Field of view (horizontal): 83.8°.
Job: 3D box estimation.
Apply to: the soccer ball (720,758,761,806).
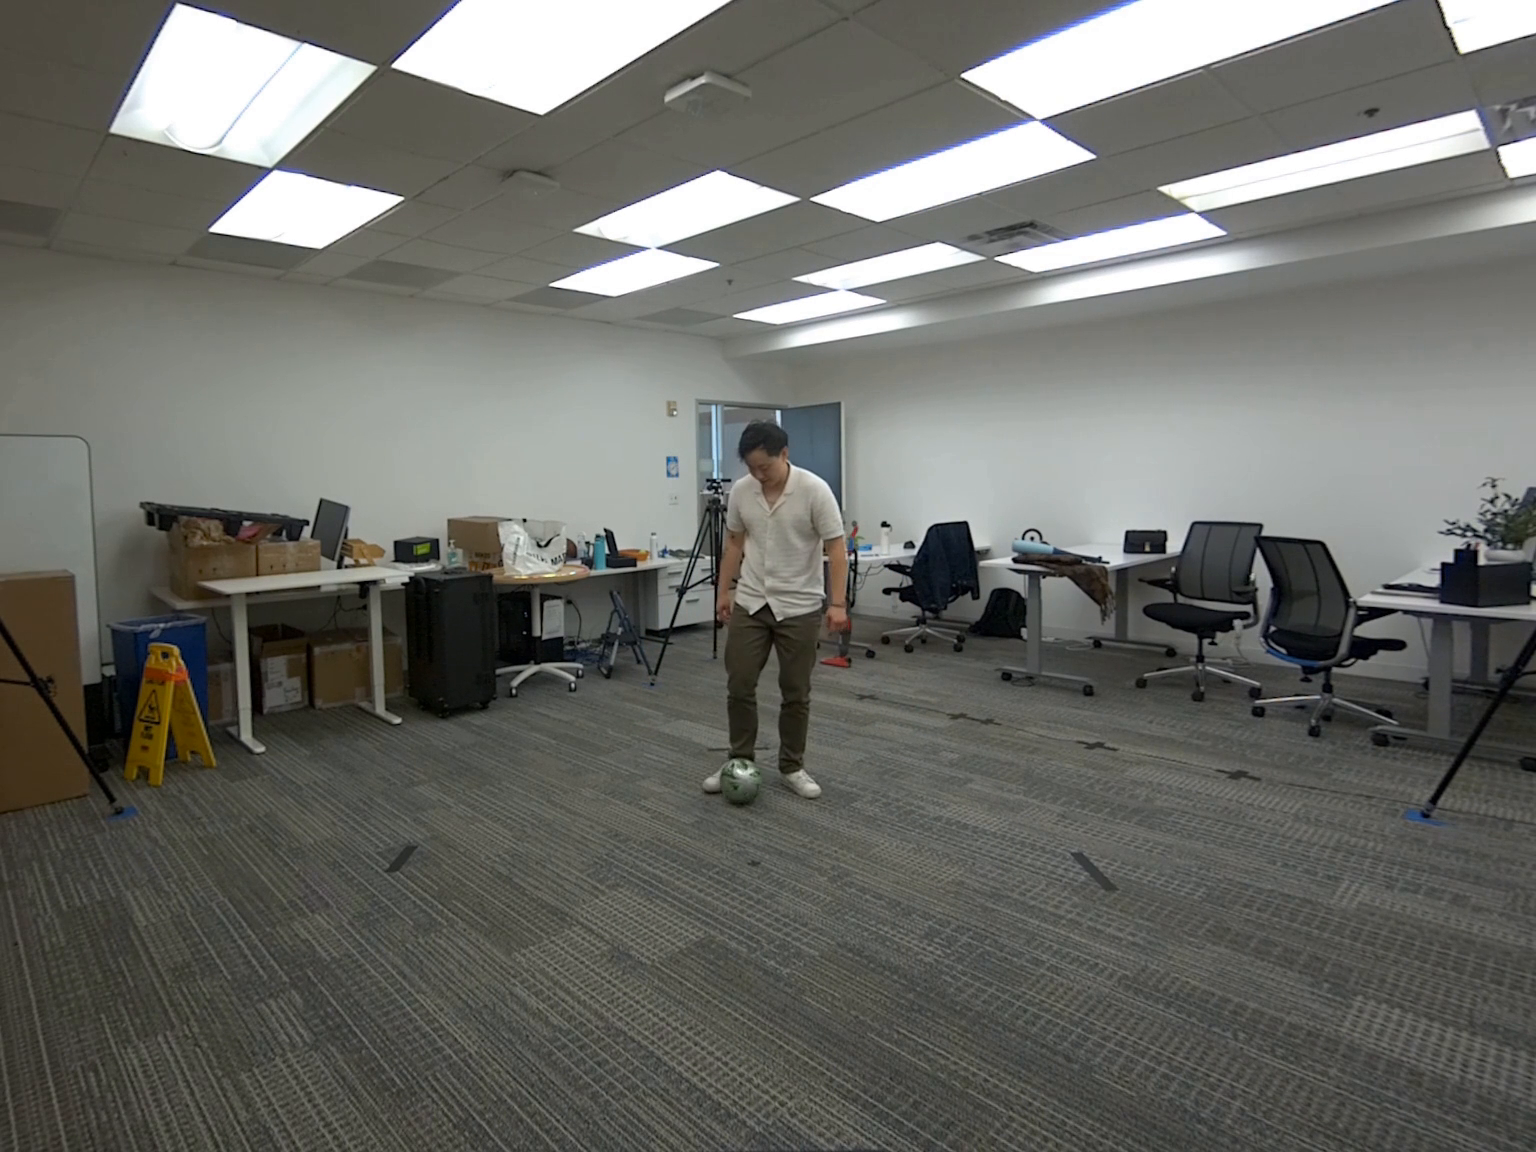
[{"bbox_3d":[-0.112,0.889,3.684,0.187,0.187,0.188,-1,5,-2],"label":"soccer ball"}]
